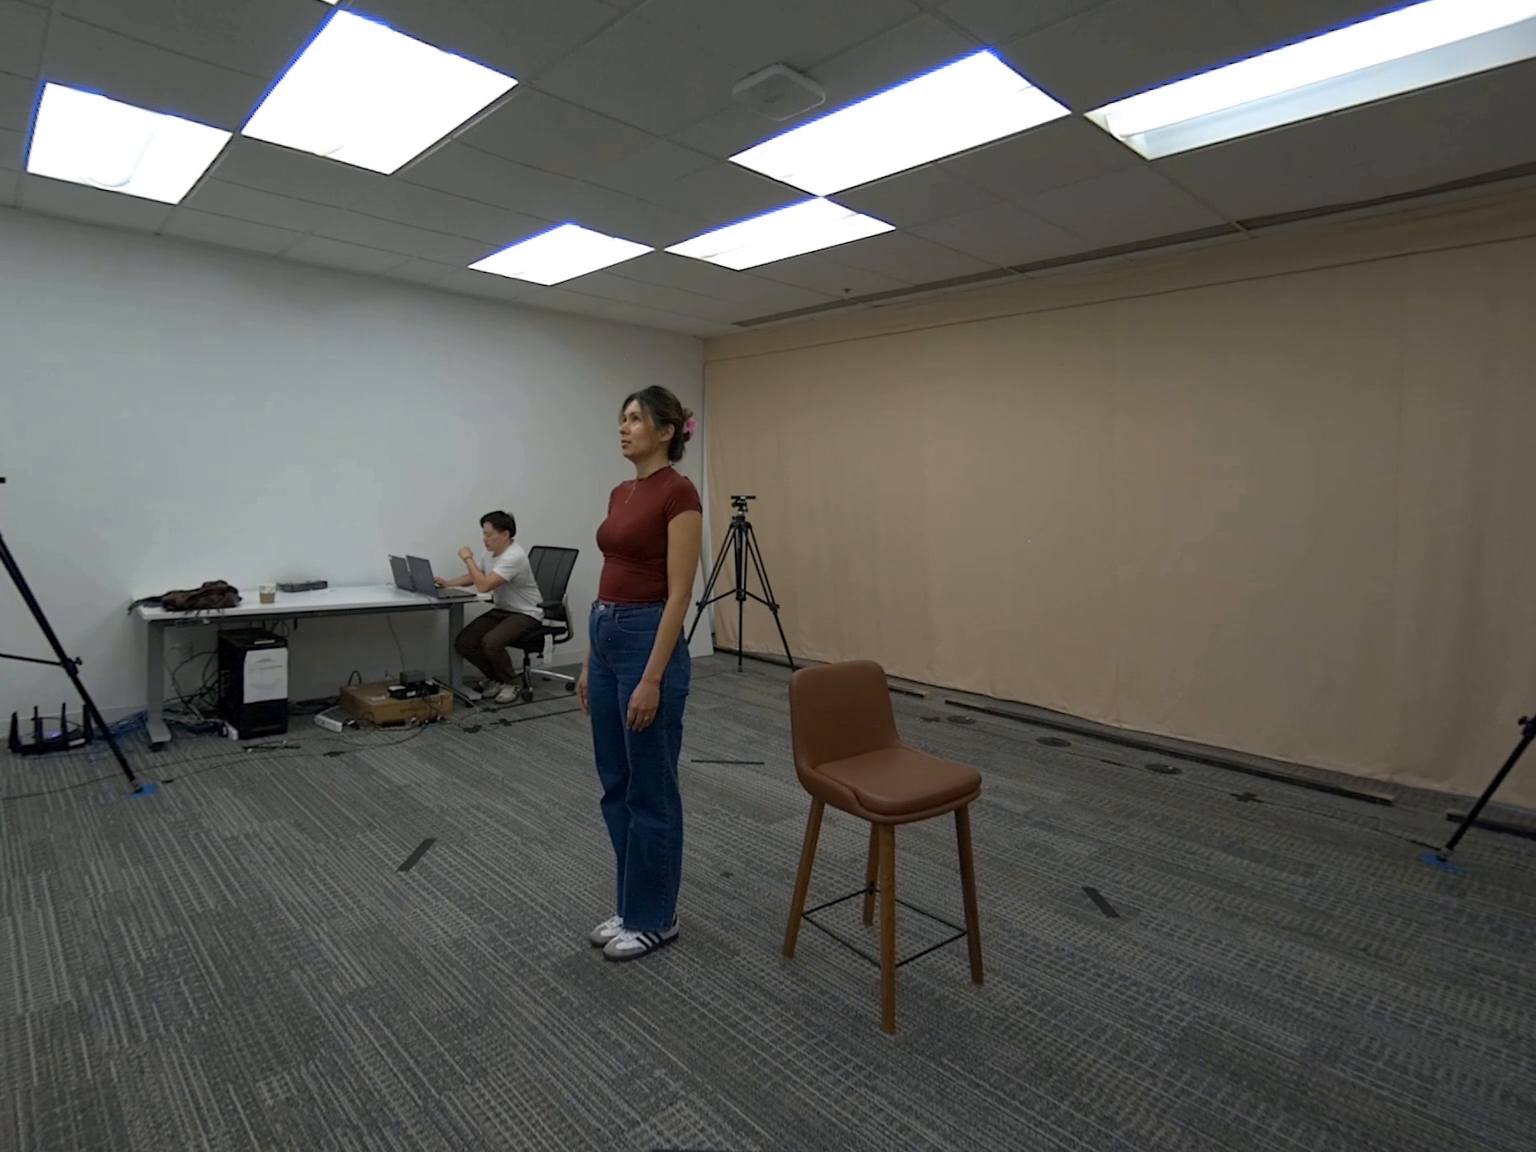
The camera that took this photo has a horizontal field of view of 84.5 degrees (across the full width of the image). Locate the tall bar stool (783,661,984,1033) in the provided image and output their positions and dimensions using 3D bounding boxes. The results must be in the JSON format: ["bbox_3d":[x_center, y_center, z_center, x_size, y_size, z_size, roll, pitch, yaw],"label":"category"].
[{"bbox_3d":[0.332,0.738,2.474,0.446,0.888,0.479,-1,3,-39],"label":"tall bar stool"}]
